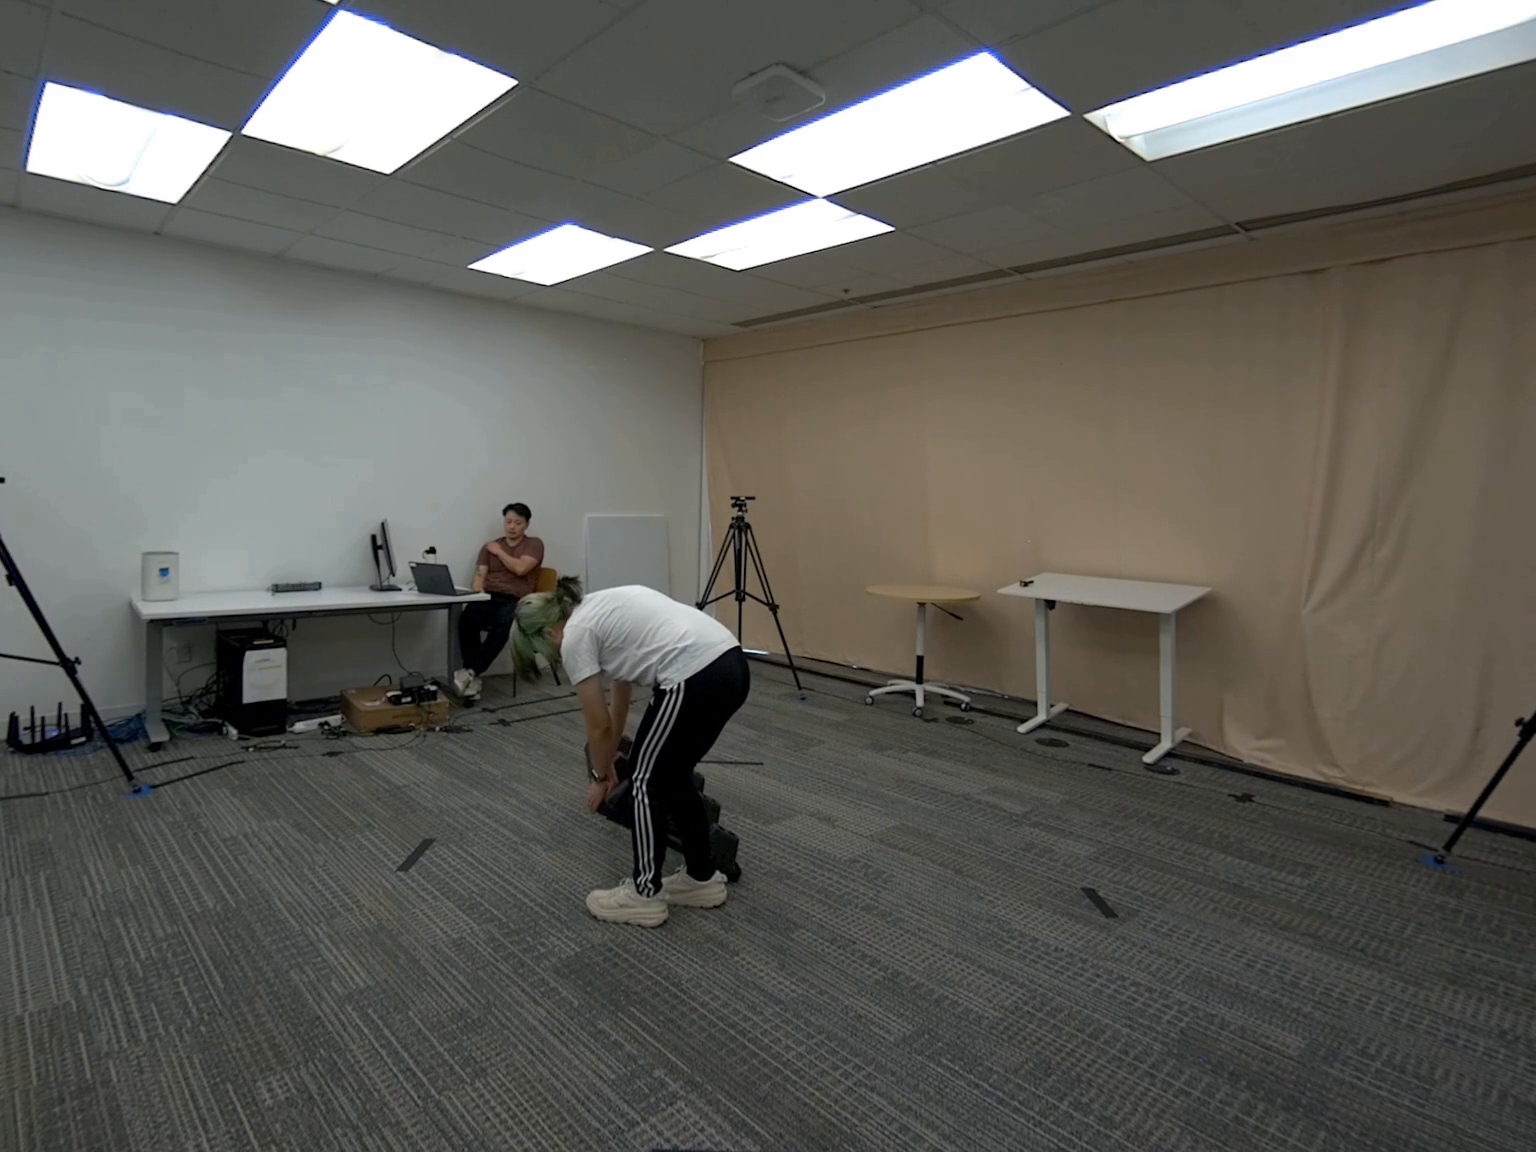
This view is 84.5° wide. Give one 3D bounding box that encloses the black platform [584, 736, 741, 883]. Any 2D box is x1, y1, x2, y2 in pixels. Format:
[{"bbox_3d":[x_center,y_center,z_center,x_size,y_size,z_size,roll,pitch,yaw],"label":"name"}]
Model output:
[{"bbox_3d":[-0.435,0.875,3.370,0.596,0.143,0.817,30,-3,-15],"label":"black platform"}]
